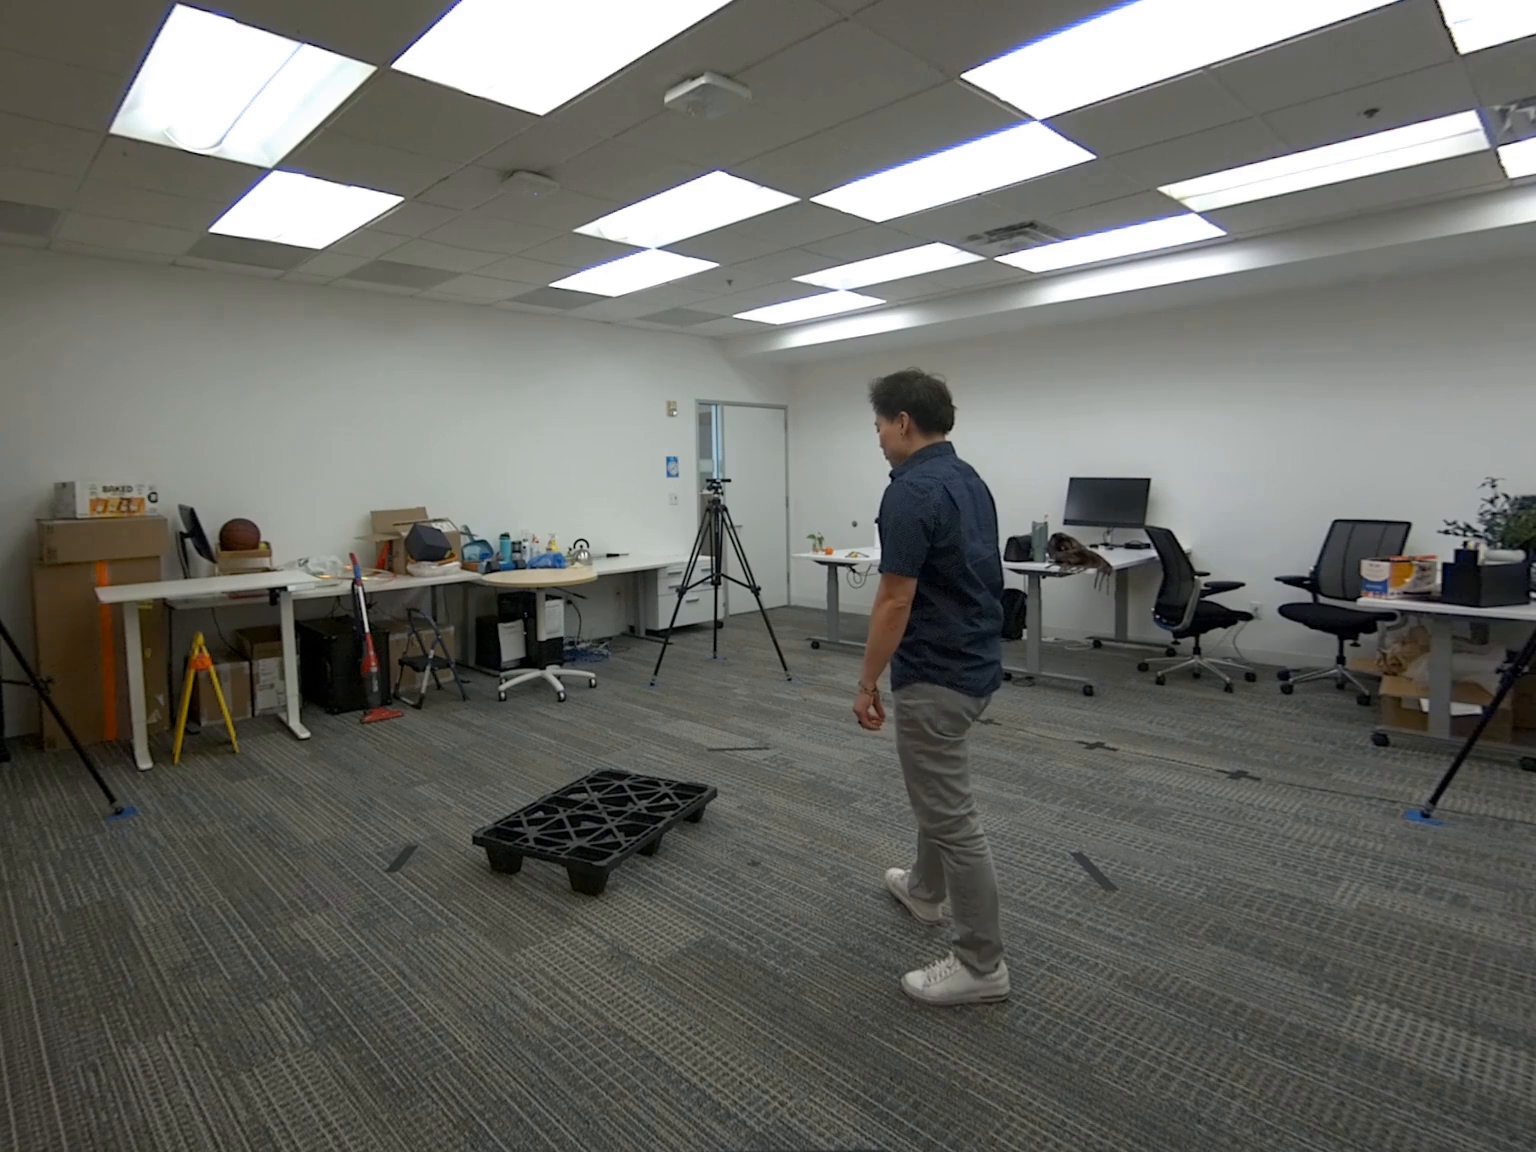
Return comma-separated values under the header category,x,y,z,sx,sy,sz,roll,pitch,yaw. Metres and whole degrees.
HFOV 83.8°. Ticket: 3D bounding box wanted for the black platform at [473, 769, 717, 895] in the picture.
category,x,y,z,sx,sy,sz,roll,pitch,yaw
black platform,-0.628,0.963,3.303,0.620,0.142,0.790,2,7,27
